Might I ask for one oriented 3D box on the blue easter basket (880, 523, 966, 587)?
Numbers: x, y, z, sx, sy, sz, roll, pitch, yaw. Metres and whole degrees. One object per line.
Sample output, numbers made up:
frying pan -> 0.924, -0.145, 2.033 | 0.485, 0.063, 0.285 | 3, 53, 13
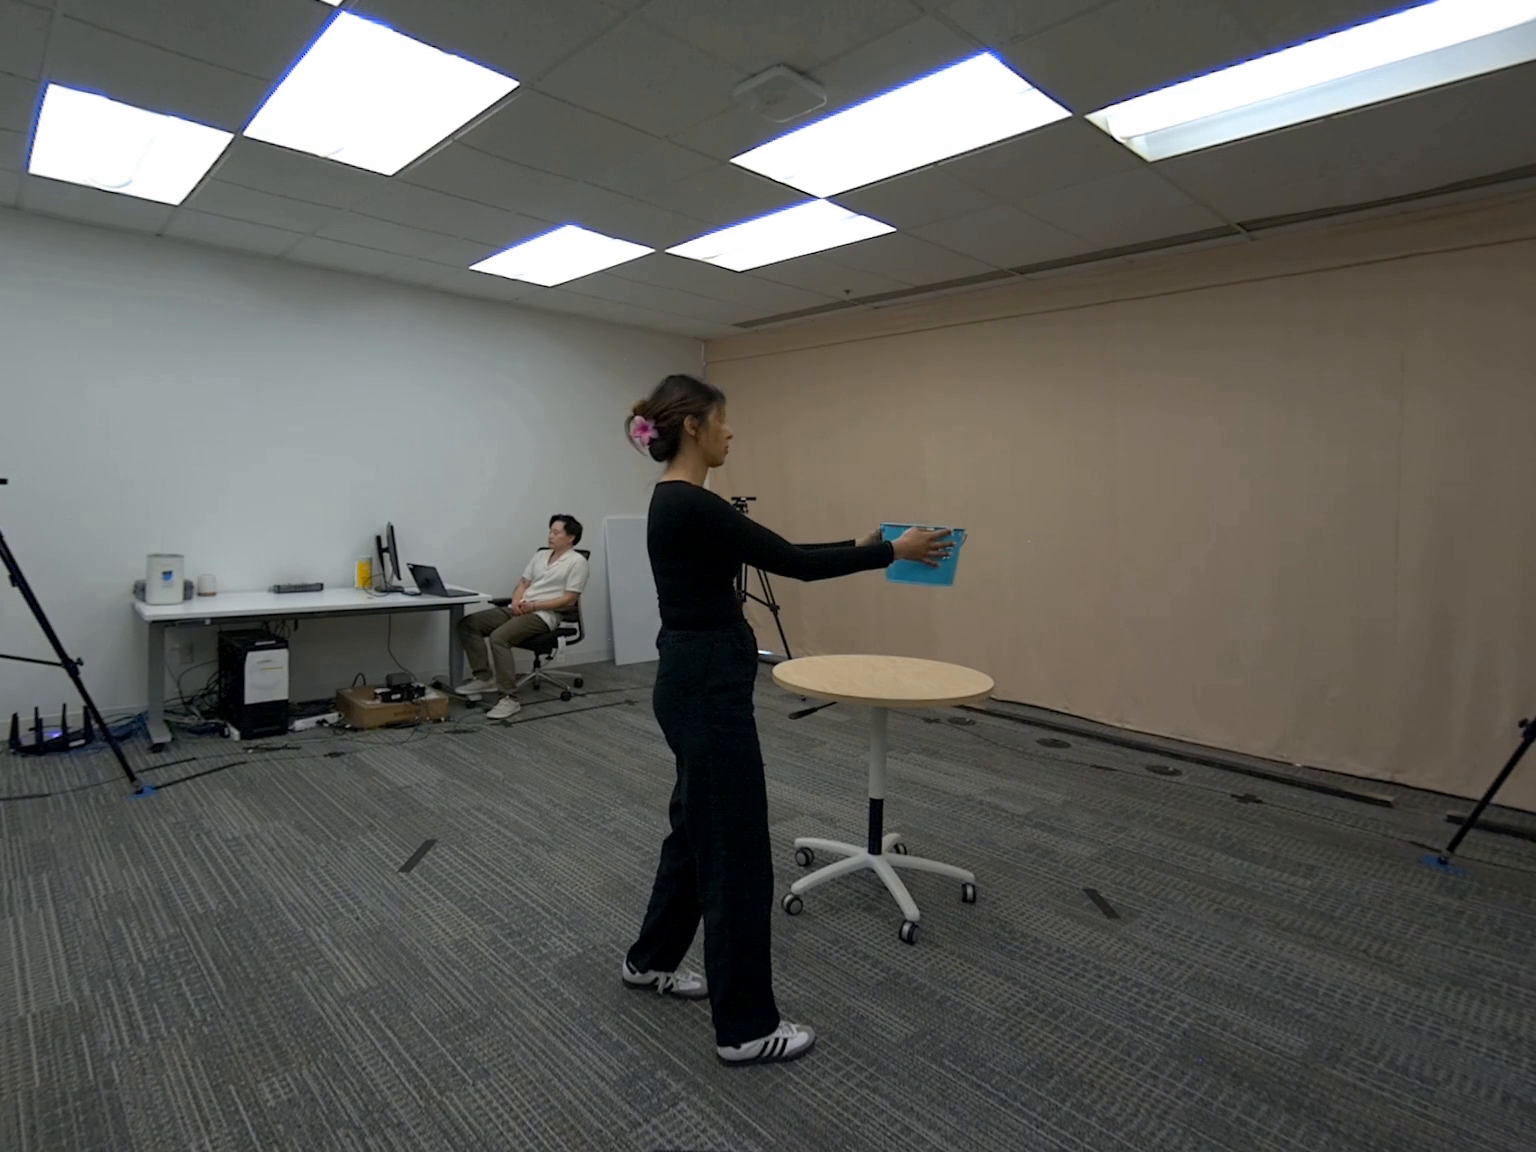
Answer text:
blue easter basket -> 0.409, -0.057, 2.264 | 0.243, 0.155, 0.244 | 3, 3, -2
